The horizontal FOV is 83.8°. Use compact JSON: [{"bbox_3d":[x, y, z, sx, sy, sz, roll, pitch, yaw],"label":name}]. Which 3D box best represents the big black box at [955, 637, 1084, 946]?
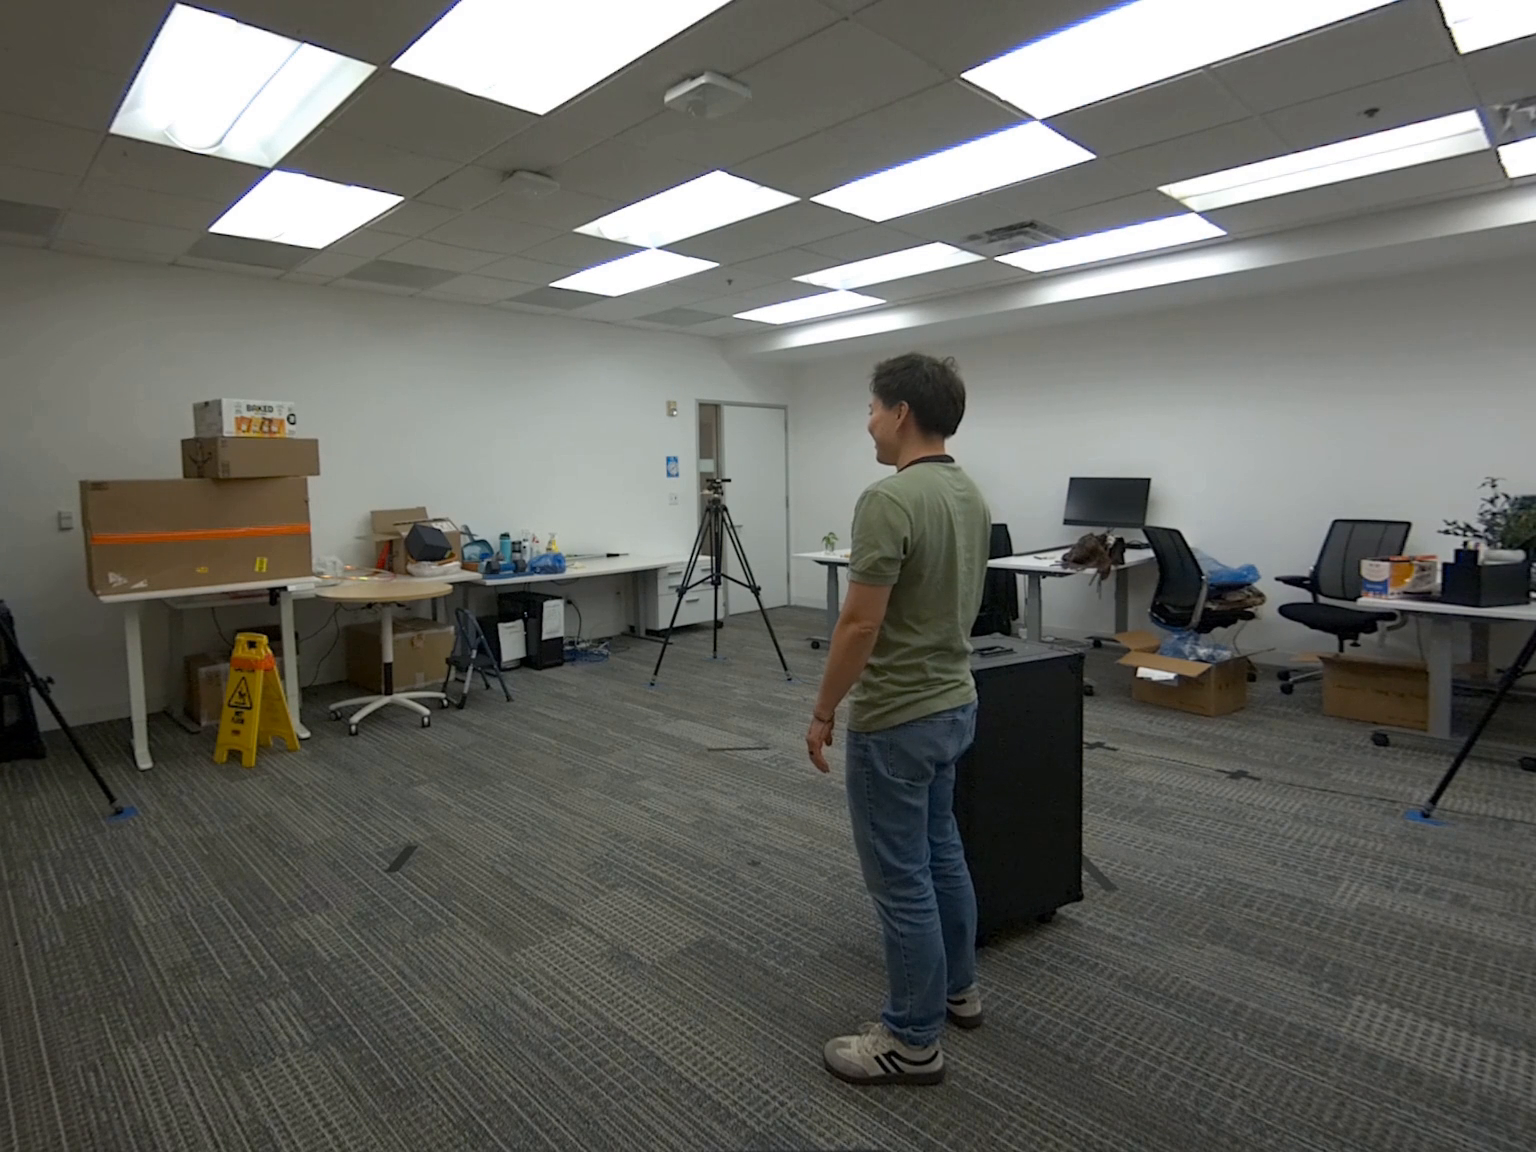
[{"bbox_3d":[0.674,0.650,2.684,0.509,0.859,0.406,-4,4,-29],"label":"big black box"}]
